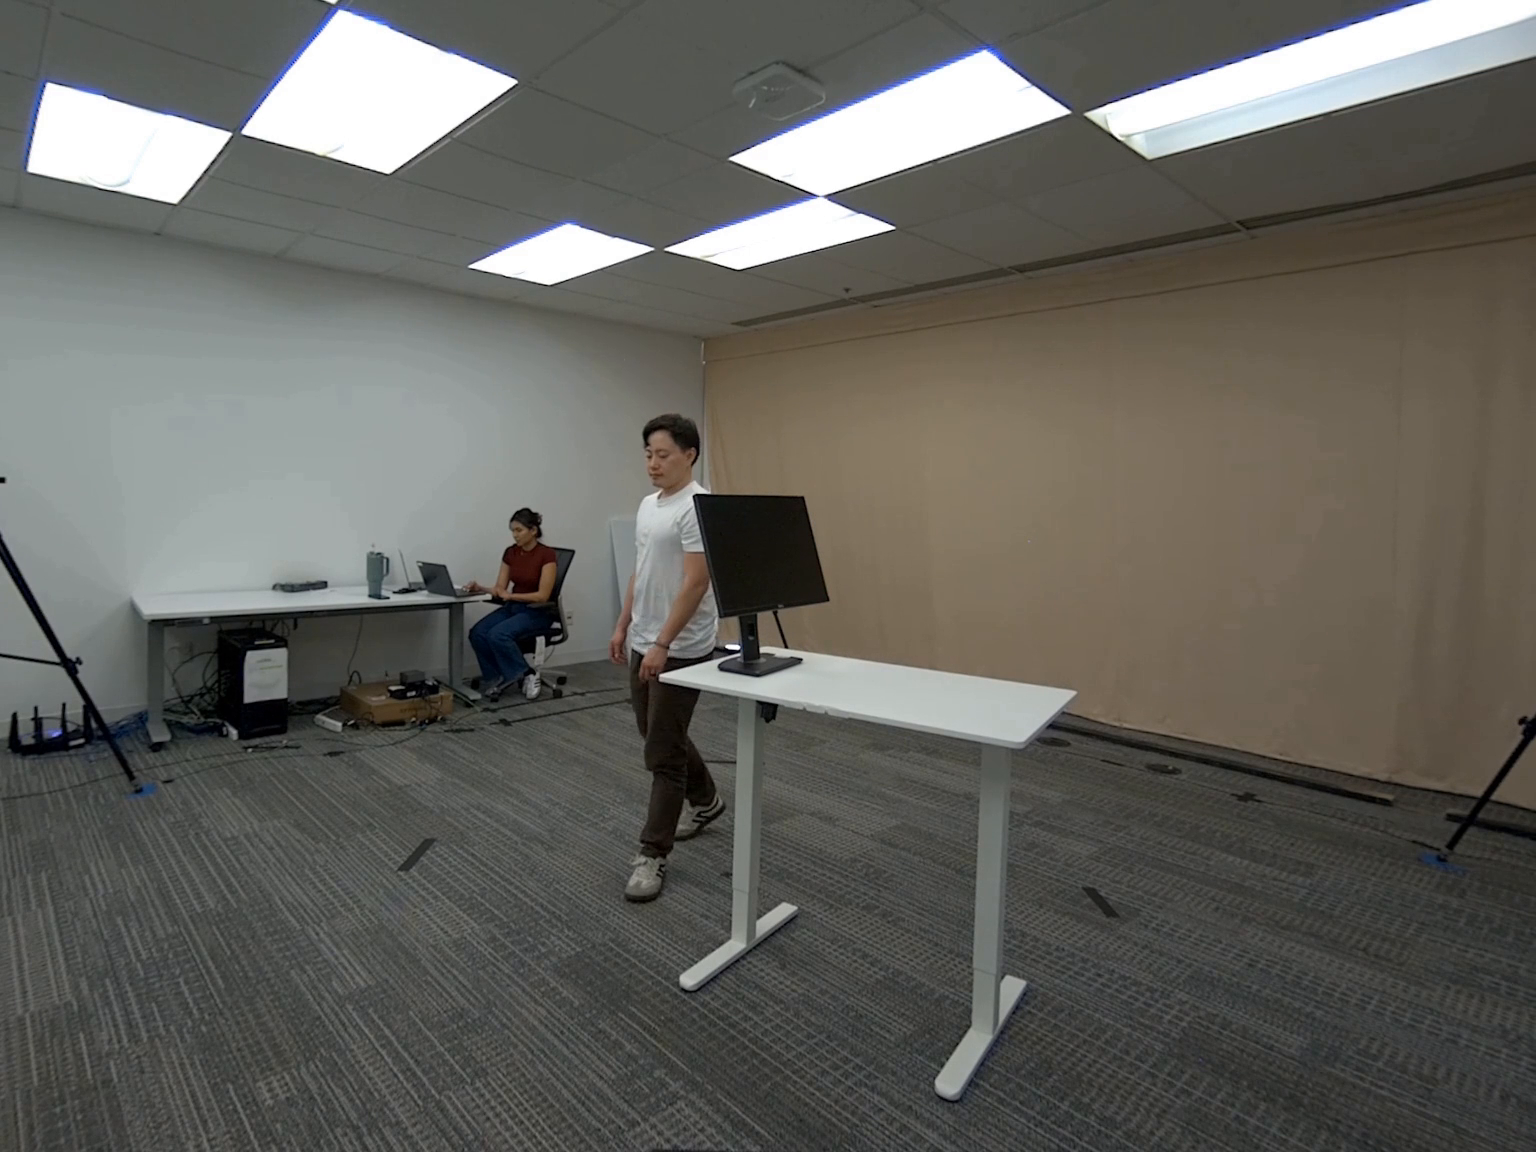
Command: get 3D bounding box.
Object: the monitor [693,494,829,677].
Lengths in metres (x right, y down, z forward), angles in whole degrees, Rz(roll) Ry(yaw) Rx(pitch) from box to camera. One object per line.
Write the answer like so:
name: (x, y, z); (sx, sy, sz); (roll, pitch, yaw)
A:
monitor: (-0.034, 0.020, 2.524); (0.191, 0.522, 0.528); (0, 3, 35)
